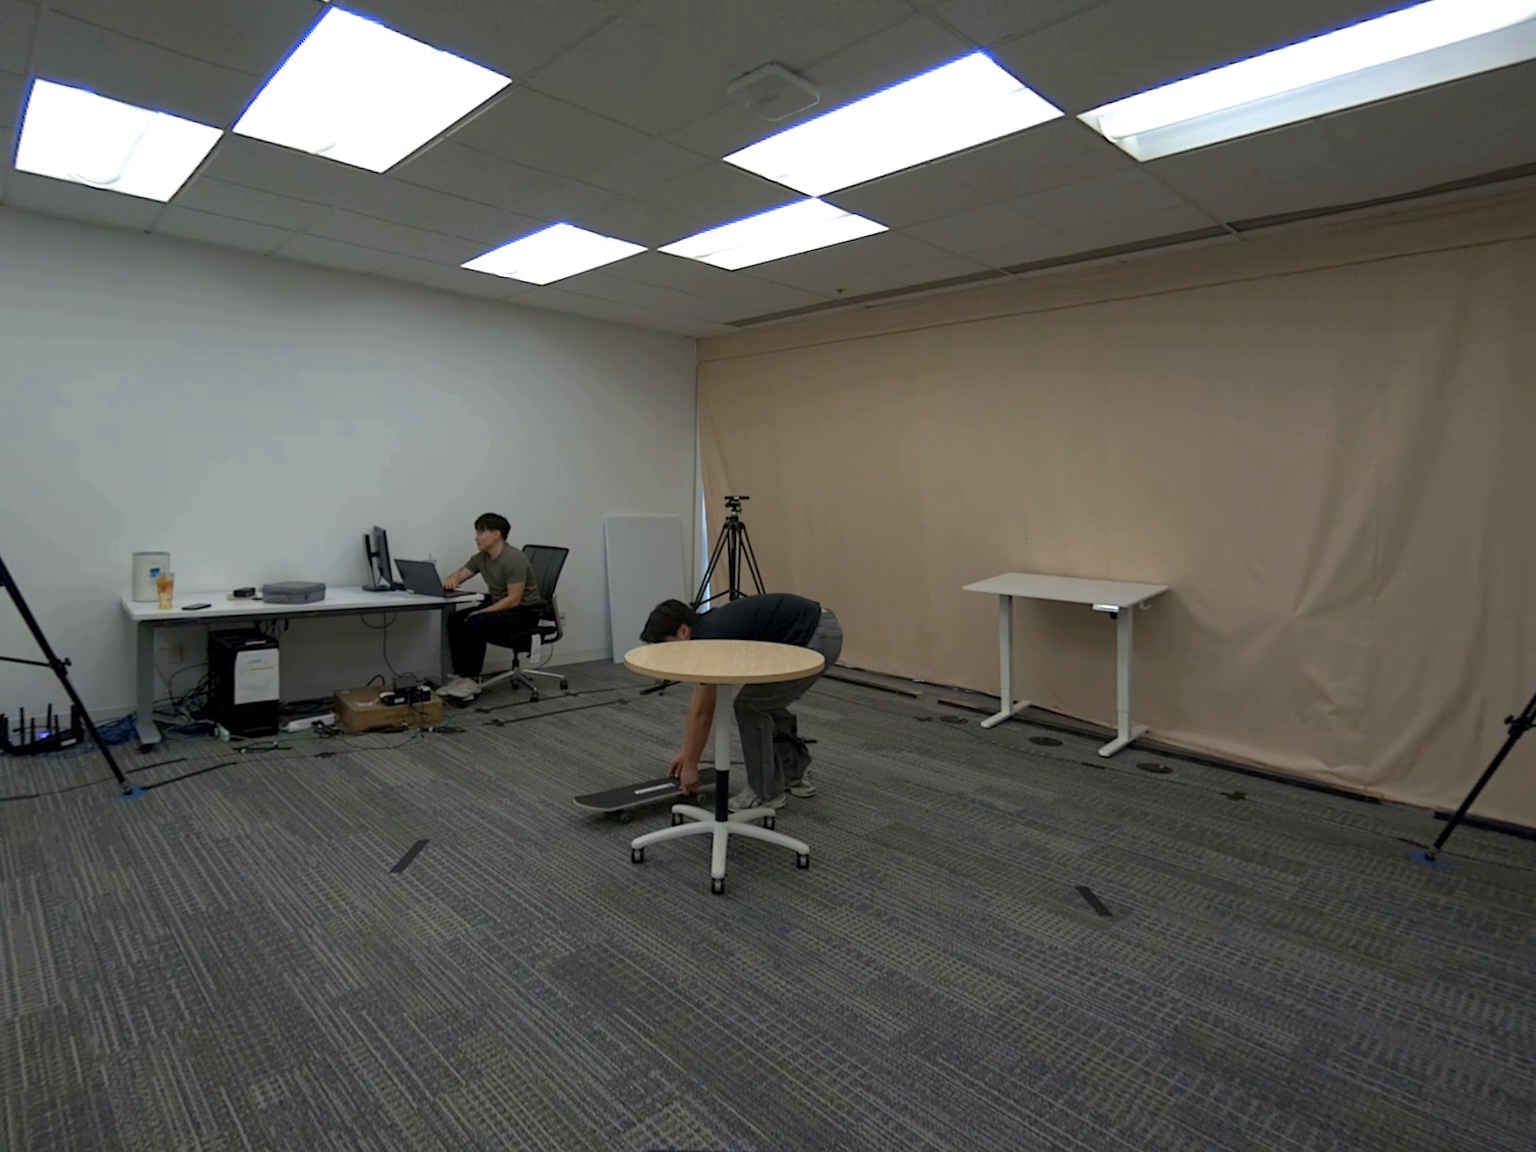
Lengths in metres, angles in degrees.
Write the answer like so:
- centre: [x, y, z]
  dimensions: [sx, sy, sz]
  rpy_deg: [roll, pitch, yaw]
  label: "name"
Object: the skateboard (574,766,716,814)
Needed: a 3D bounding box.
- centre: [-0.519, 0.982, 3.758]
  dimensions: [0.768, 0.110, 0.198]
  rpy_deg: [-3, 6, -40]
  label: "skateboard"
